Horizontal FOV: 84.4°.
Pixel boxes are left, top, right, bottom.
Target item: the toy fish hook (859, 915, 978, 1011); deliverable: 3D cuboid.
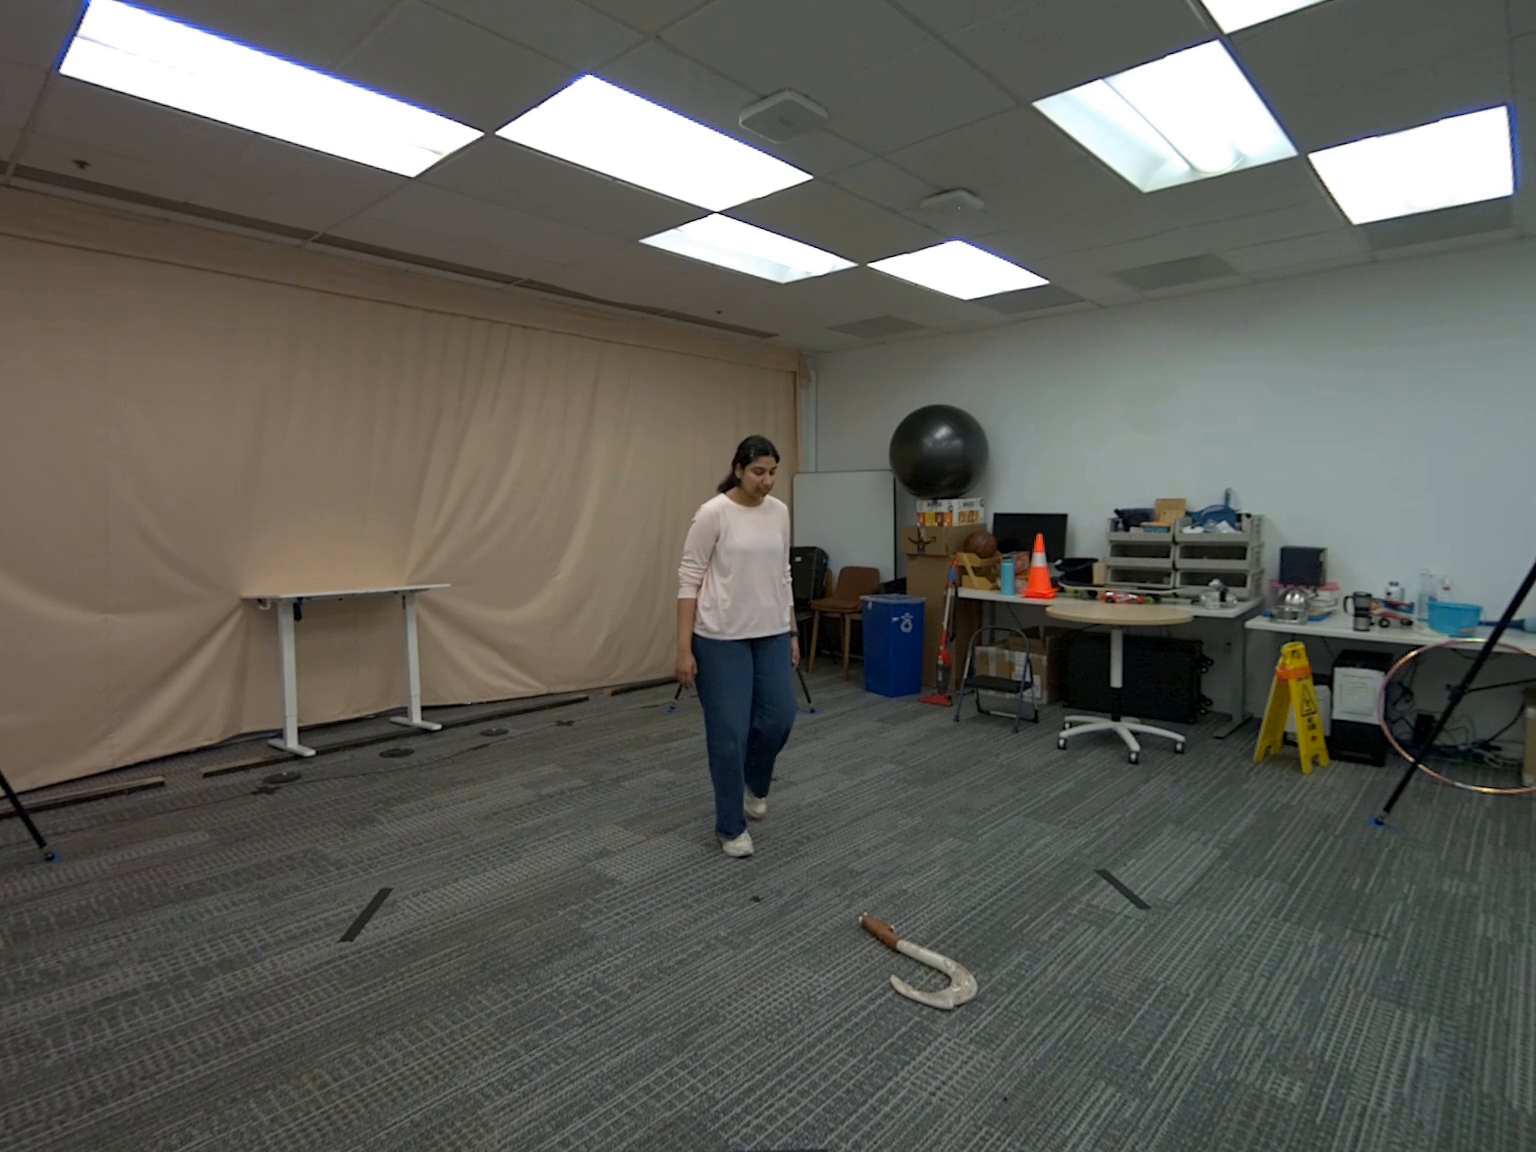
[{"bbox_3d":[0.410,1.157,2.553,0.218,0.048,0.522,-3,5,-32],"label":"toy fish hook"}]
